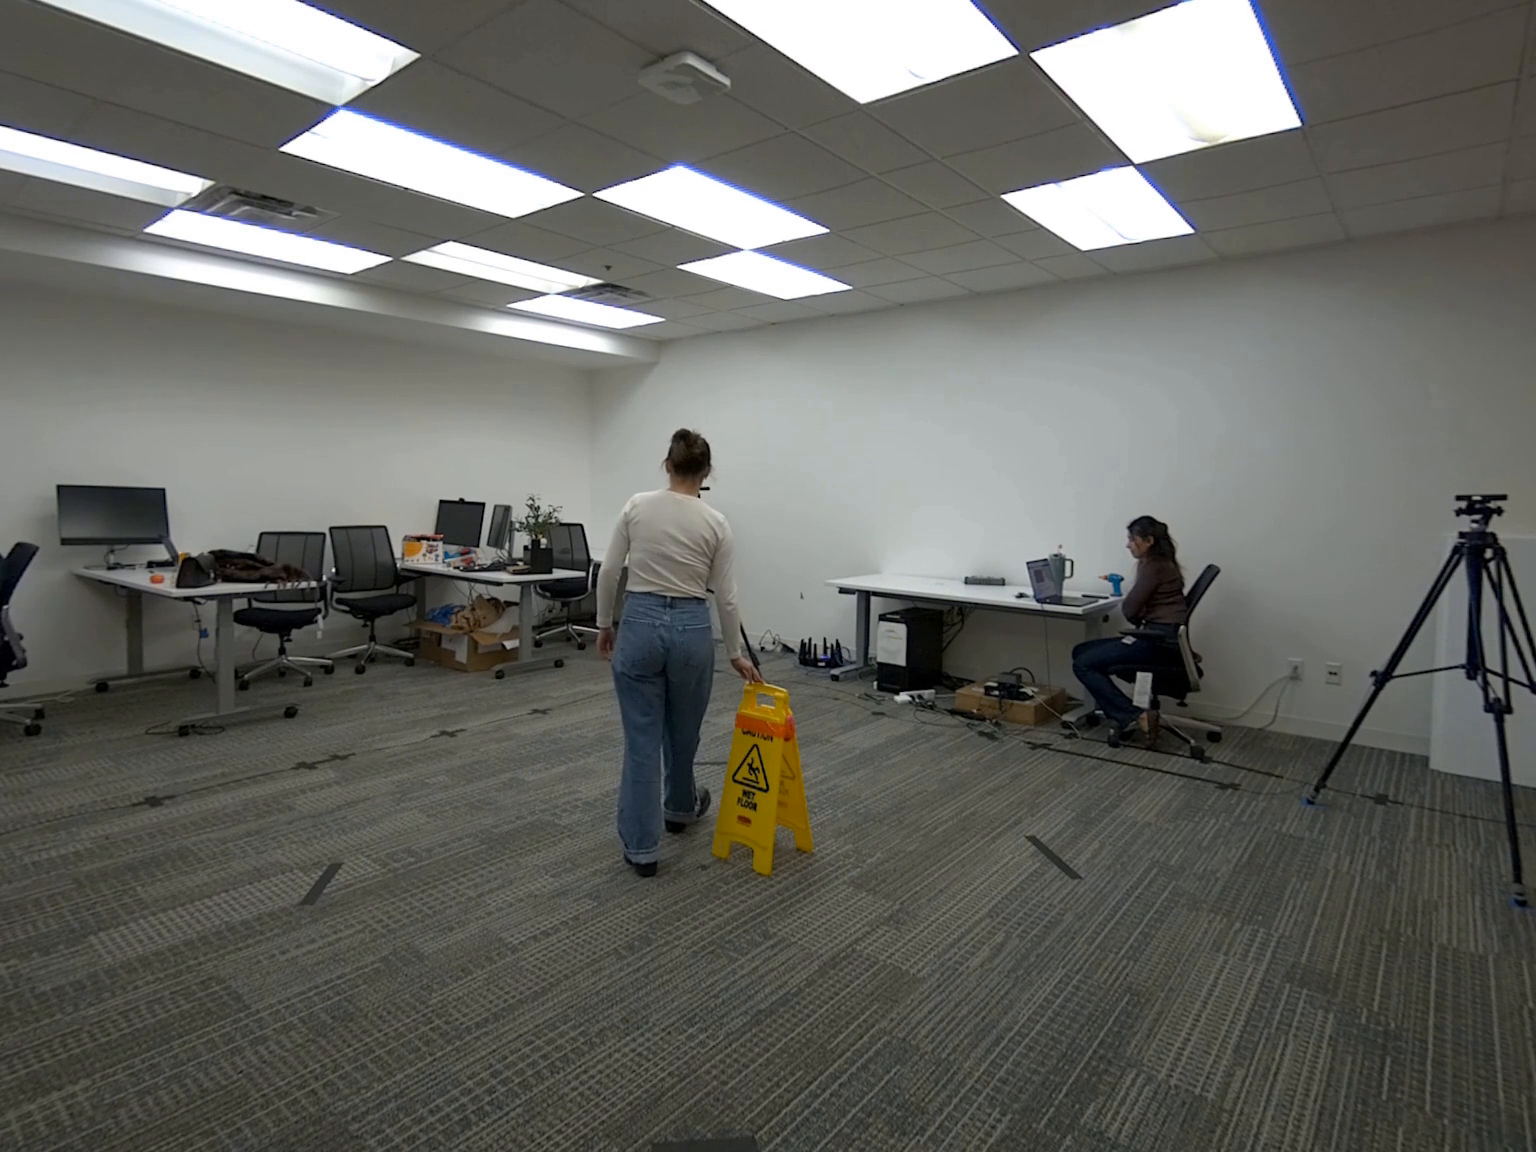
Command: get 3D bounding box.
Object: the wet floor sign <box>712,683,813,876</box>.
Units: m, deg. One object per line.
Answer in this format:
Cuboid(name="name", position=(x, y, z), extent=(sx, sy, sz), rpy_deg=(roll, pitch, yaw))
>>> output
Cuboid(name="wet floor sign", position=(-0.020, 0.735, 3.231), extent=(0.292, 0.644, 0.281), rpy_deg=(4, 4, 39))
